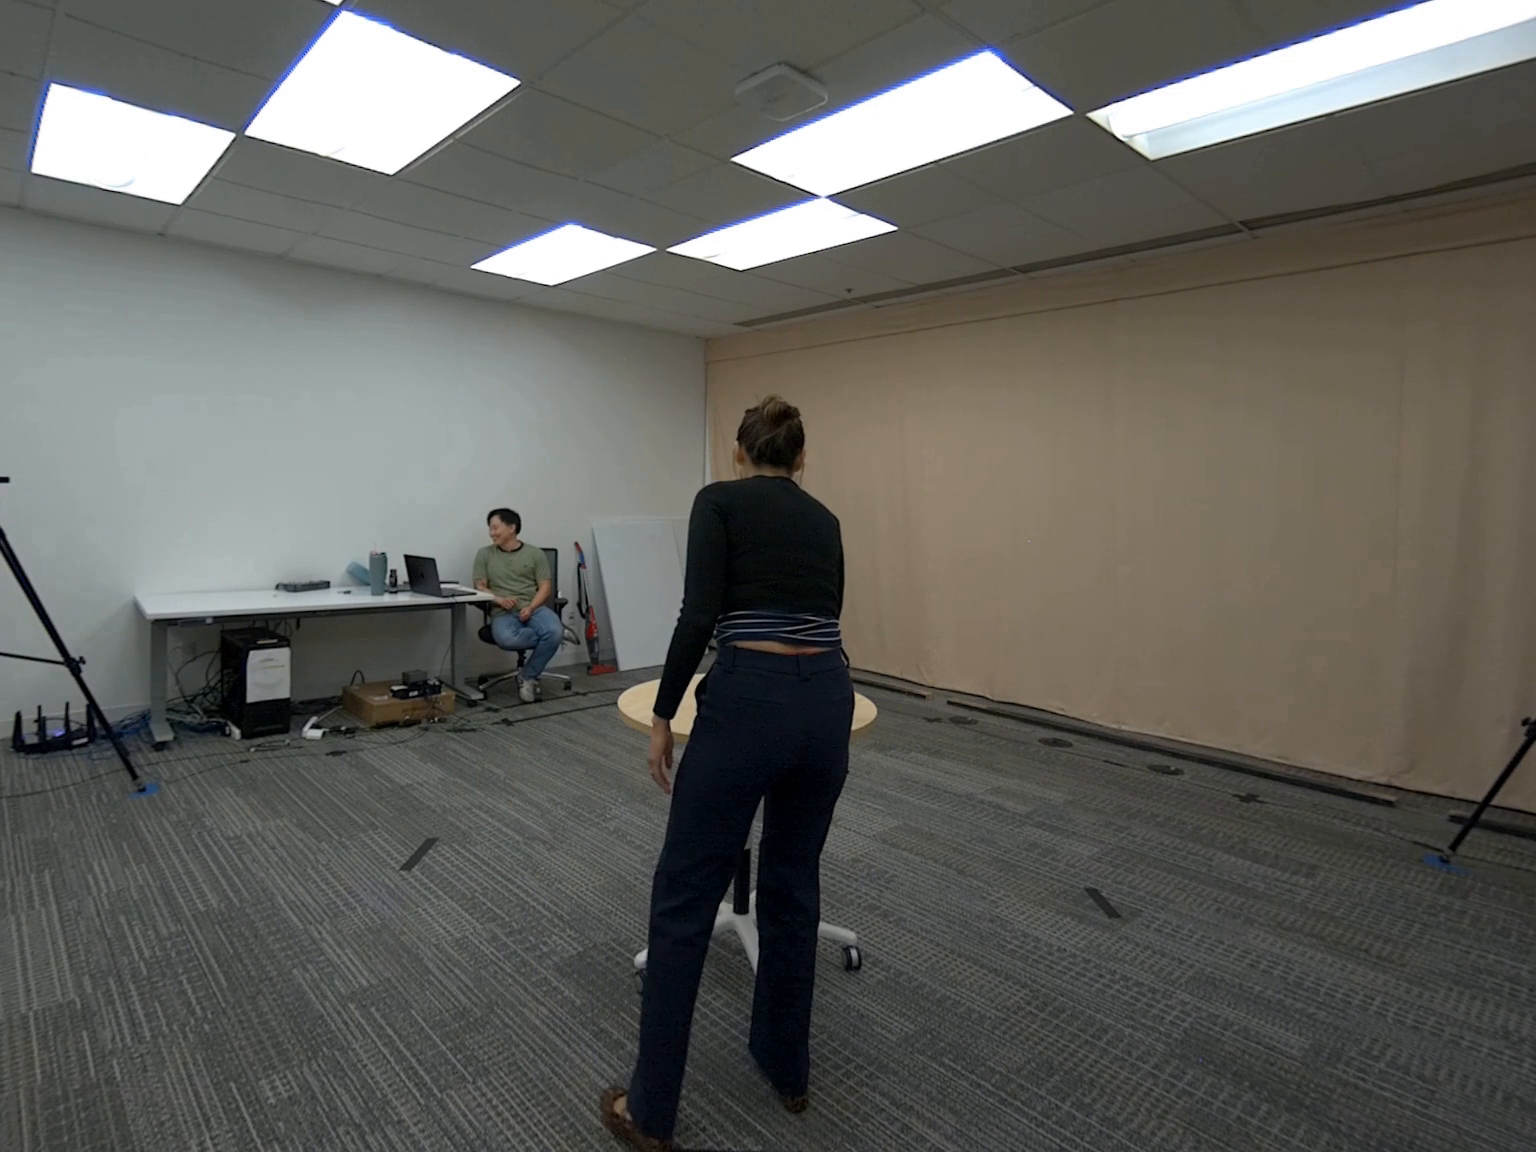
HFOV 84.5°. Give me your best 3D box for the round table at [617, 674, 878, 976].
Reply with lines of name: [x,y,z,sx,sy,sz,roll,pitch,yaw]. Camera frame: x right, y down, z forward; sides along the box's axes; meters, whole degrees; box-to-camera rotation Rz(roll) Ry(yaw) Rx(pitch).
round table: [-0.079,0.773,2.526,0.763,0.791,0.767,1,5,-1]
